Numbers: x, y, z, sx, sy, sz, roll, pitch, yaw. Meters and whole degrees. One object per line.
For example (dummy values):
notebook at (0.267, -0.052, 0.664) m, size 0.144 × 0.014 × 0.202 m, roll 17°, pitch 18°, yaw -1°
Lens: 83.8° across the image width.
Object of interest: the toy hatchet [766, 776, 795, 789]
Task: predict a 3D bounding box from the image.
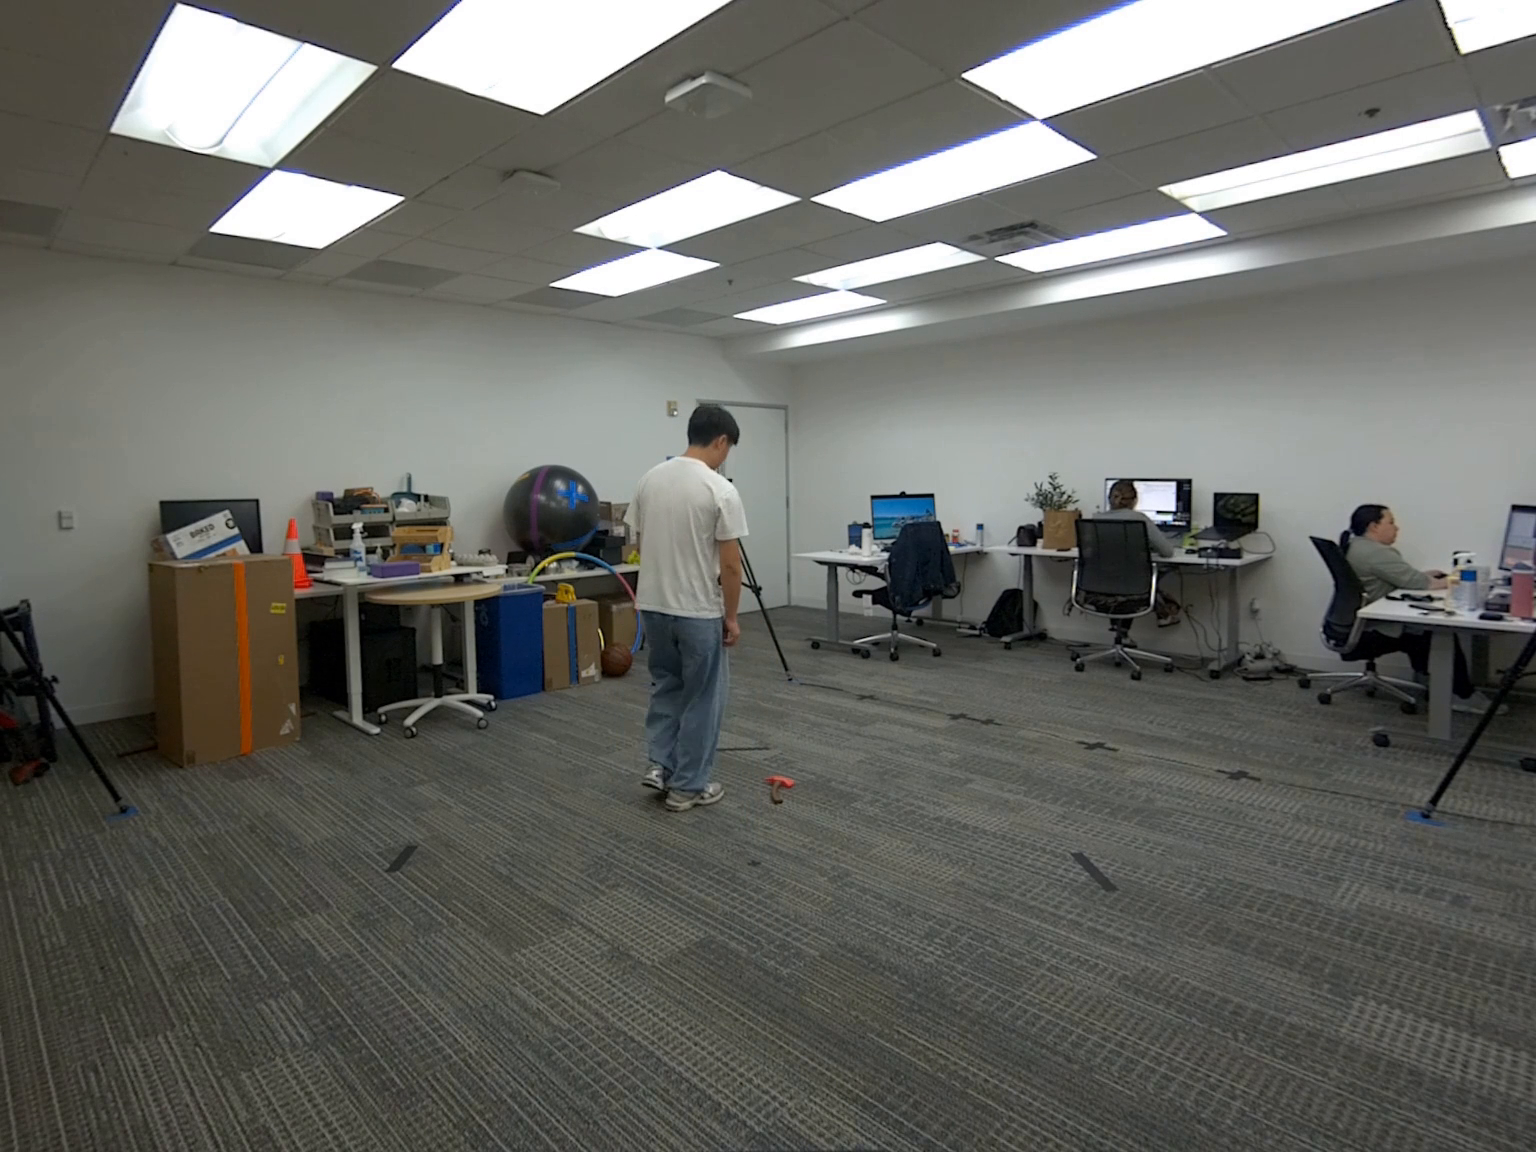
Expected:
toy hatchet at (0.067, 0.948, 3.795) m, size 0.130 × 0.029 × 0.274 m, roll 2°, pitch 9°, yaw -8°
